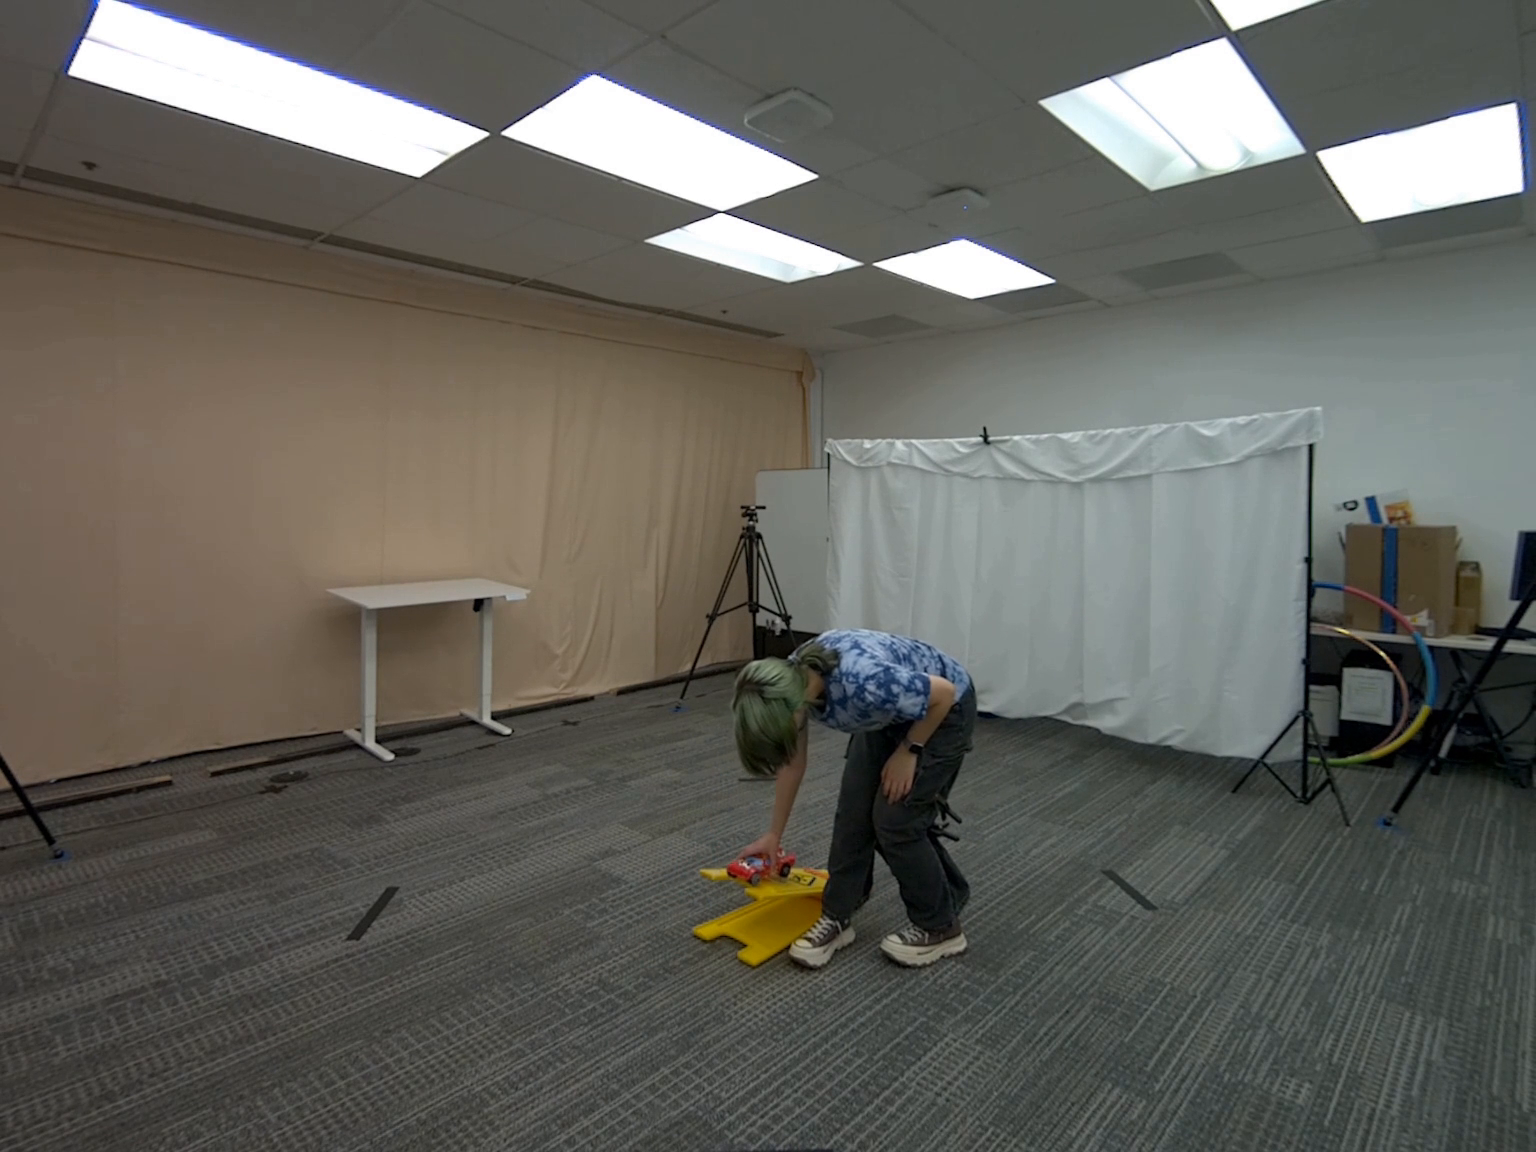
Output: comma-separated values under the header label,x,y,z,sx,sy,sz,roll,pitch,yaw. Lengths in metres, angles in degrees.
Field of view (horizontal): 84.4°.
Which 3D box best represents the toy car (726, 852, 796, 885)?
label,x,y,z,sx,sy,sz,roll,pitch,yaw
toy car,-0.015,0.955,2.737,0.134,0.083,0.247,1,7,45
